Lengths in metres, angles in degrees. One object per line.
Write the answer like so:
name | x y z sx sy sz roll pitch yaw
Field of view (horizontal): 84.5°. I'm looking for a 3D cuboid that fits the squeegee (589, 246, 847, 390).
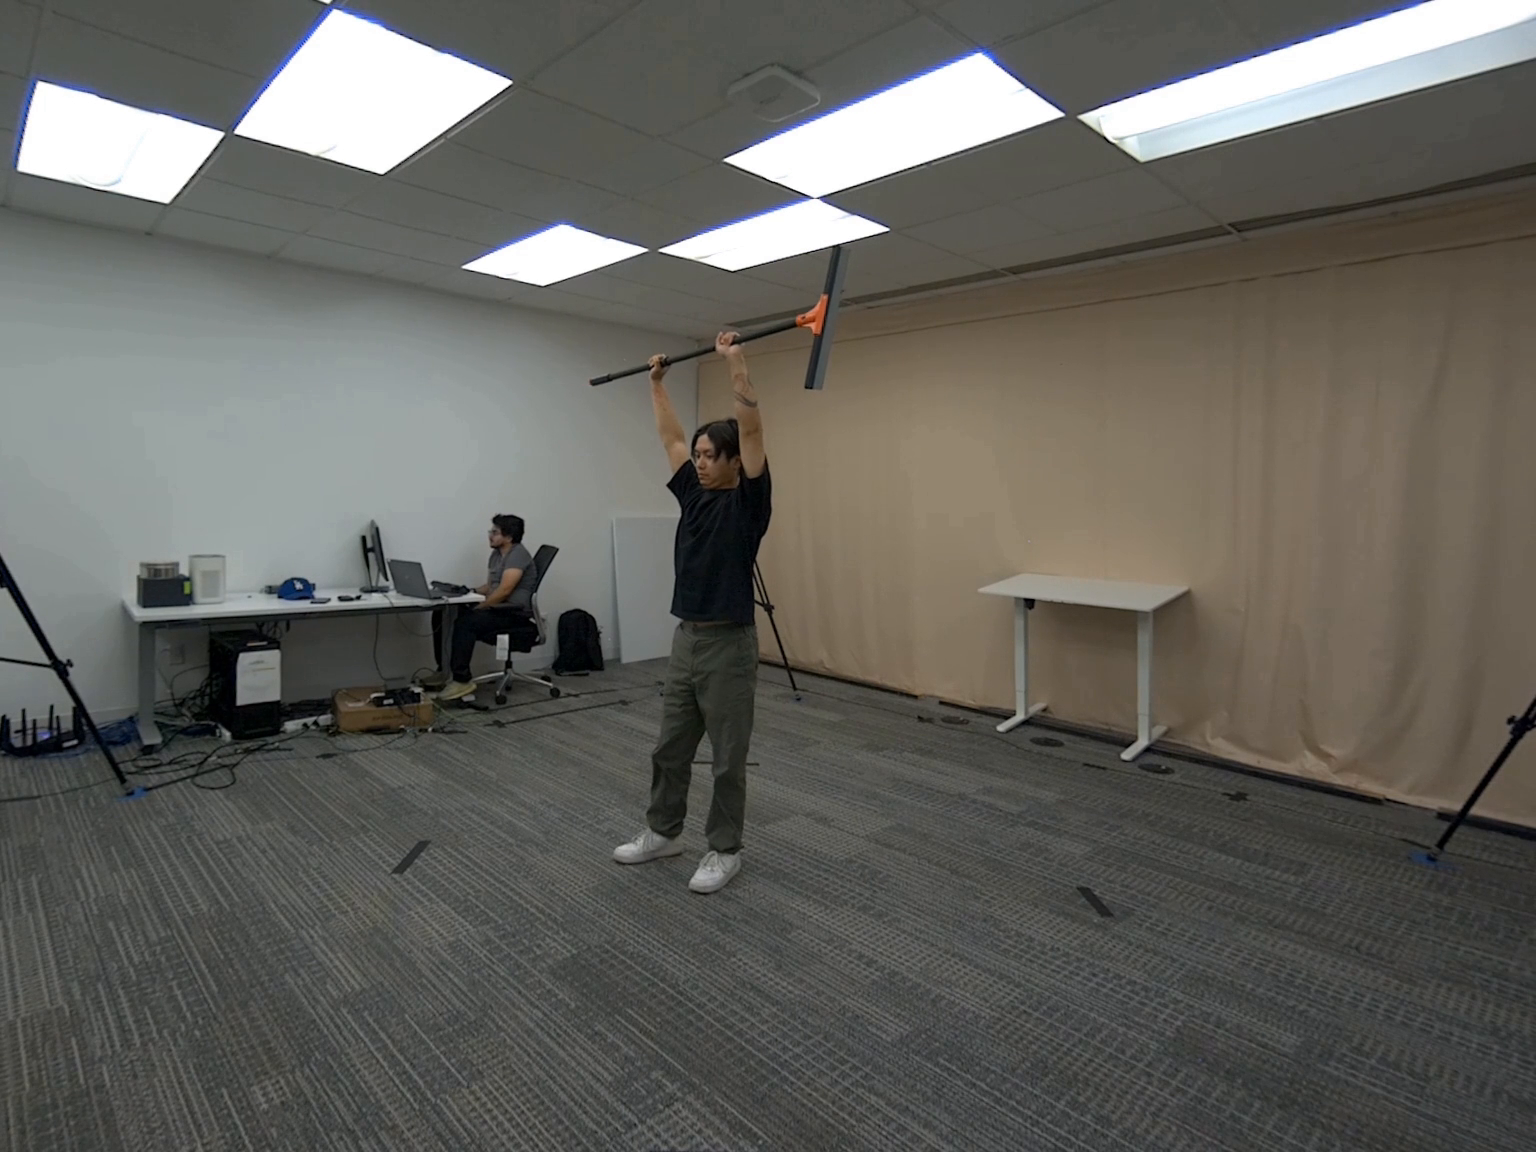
squeegee | -0.302 -0.787 3.022 0.051 0.439 1.575 14 -5 -38
